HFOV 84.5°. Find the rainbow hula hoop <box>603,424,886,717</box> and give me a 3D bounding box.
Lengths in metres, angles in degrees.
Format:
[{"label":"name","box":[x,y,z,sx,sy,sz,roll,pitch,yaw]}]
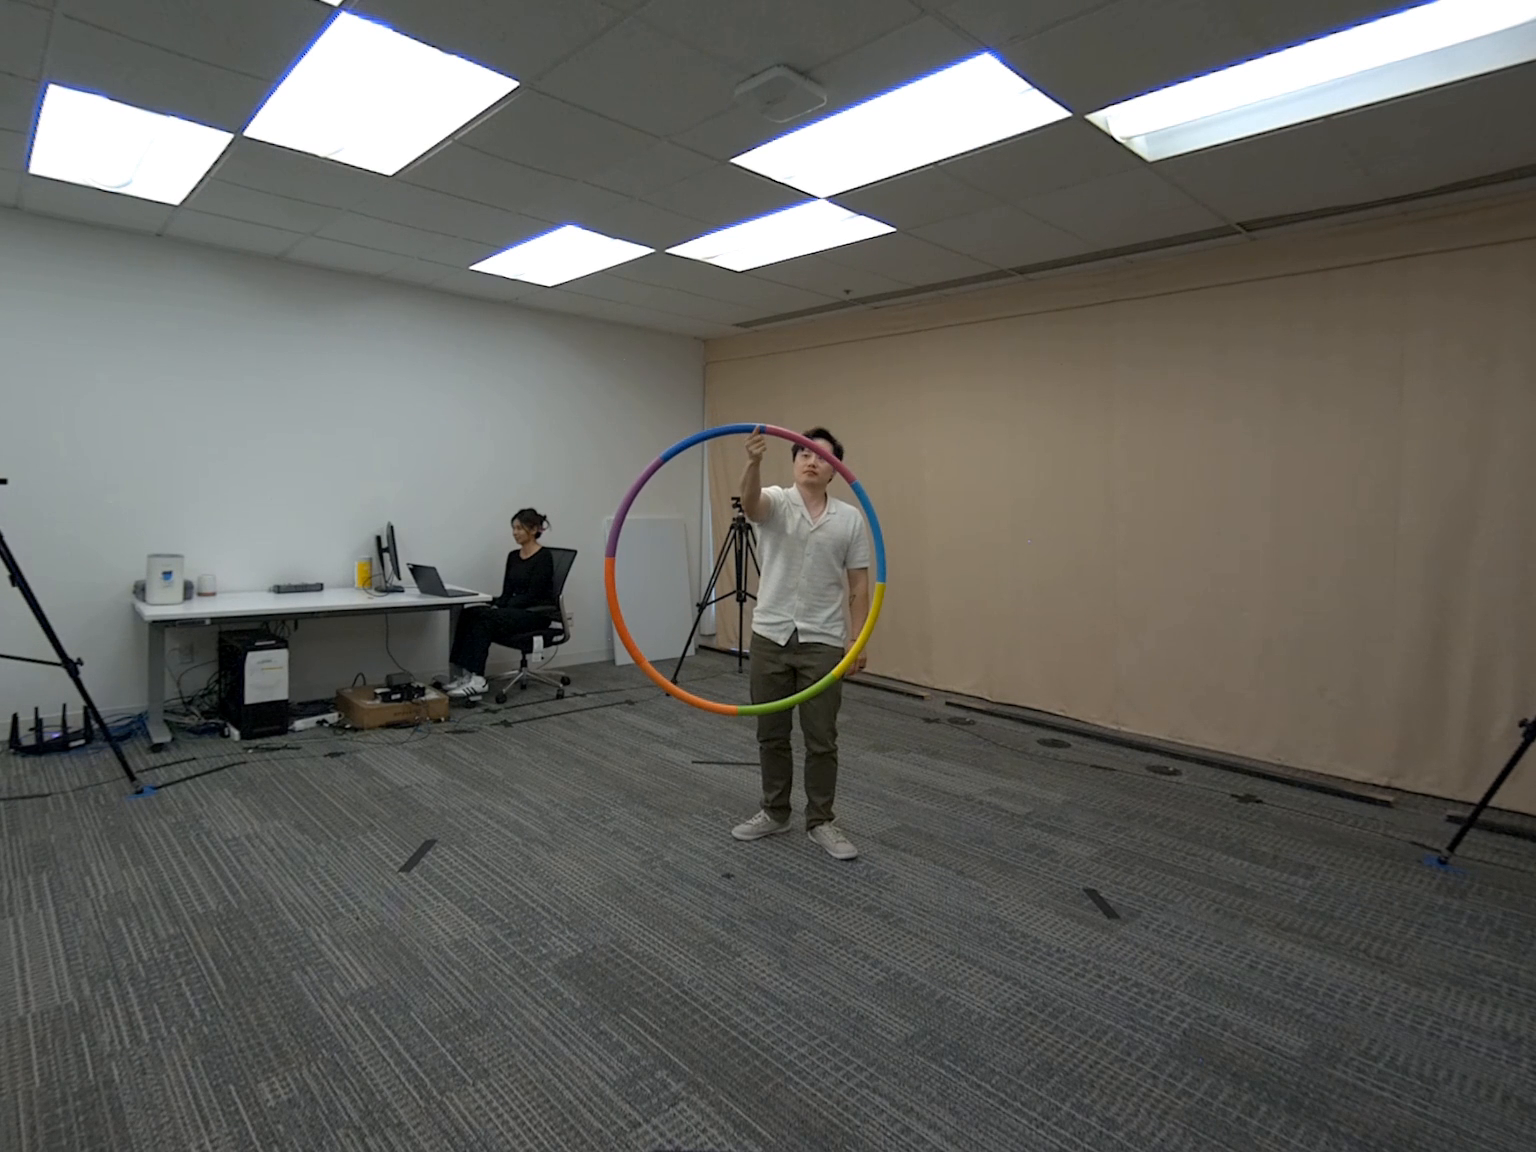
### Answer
[{"label":"rainbow hula hoop","box":[-0.072,-0.025,2.858,0.970,0.977,0.036,1,2,-11]}]
